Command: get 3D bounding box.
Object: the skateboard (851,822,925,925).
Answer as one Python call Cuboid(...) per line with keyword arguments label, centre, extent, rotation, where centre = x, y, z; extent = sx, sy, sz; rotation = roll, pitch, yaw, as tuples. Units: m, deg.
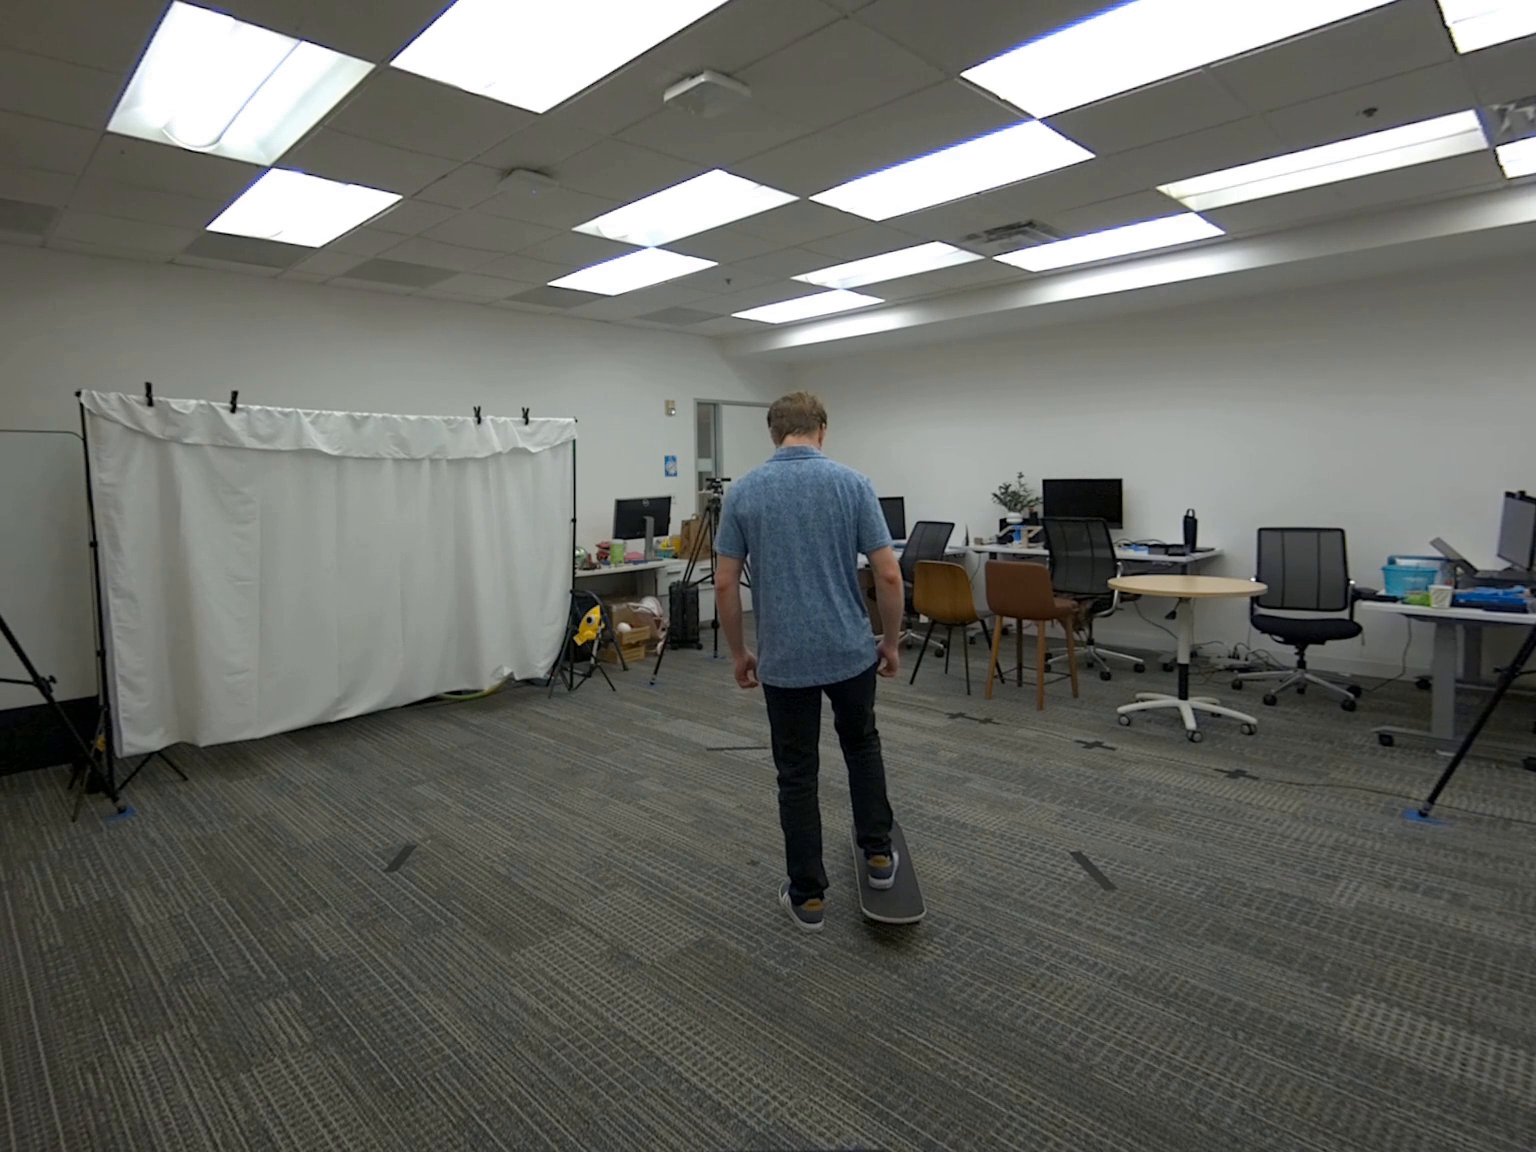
Cuboid(label="skateboard", centre=(0.389, 0.995, 2.886), extent=(0.194, 0.110, 0.786), rotation=(-3, 6, 3))
